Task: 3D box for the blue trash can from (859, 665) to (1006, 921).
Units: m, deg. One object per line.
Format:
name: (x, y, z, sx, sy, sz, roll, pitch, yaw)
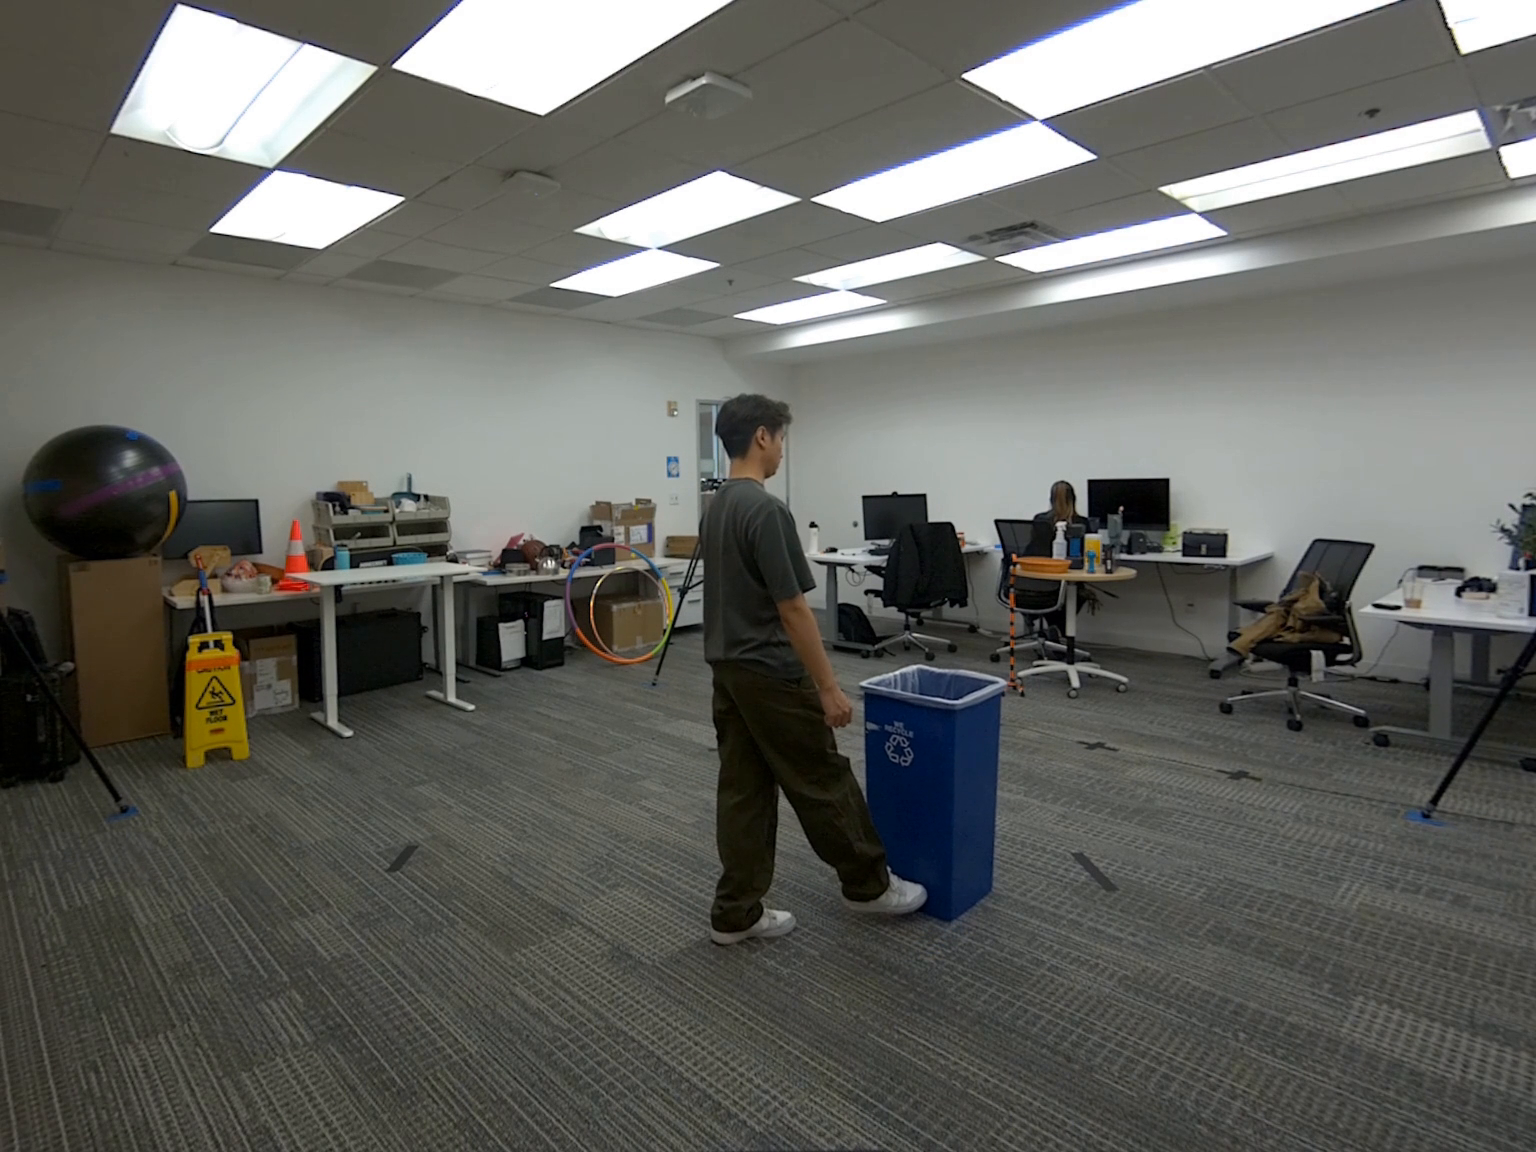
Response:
blue trash can: (0.555, 0.706, 2.859, 0.390, 0.710, 0.364, 4, 7, 41)
